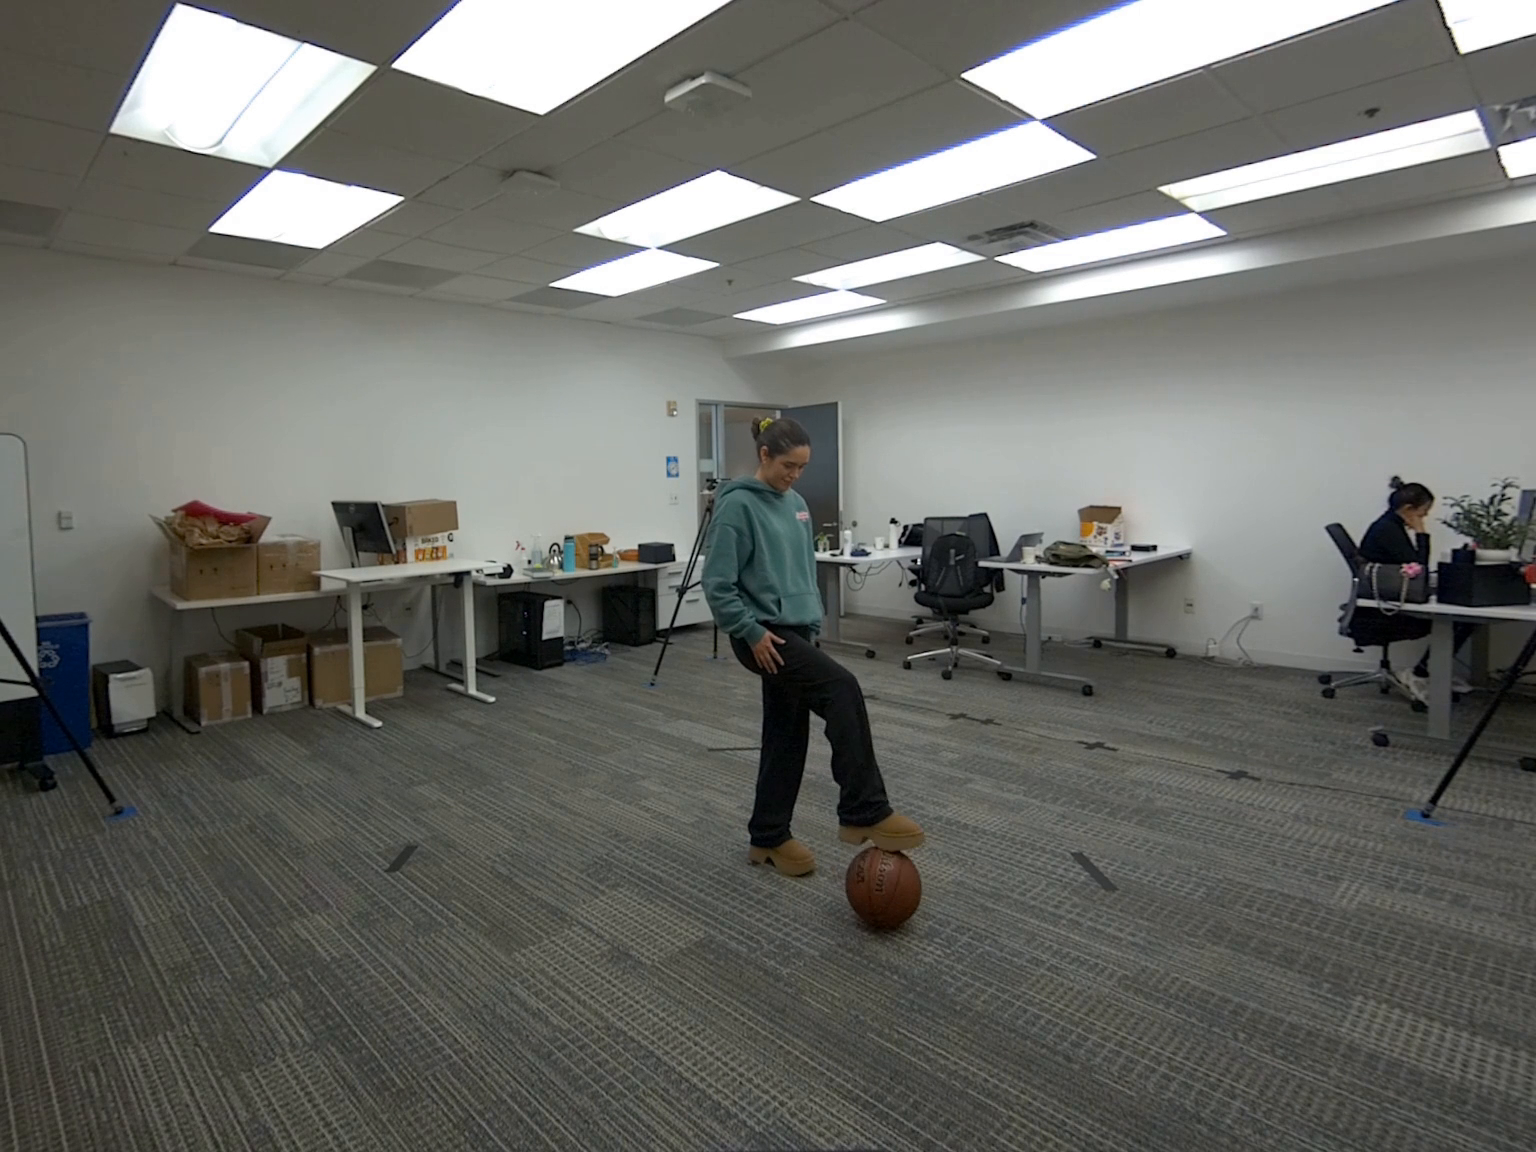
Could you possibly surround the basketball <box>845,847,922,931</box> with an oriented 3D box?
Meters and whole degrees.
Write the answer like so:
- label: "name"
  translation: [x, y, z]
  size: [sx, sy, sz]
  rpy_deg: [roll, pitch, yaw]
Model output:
- label: "basketball"
  translation: [0.361, 0.969, 2.671]
  size: [0.236, 0.235, 0.237]
  rpy_deg: [-1, 5, -2]
